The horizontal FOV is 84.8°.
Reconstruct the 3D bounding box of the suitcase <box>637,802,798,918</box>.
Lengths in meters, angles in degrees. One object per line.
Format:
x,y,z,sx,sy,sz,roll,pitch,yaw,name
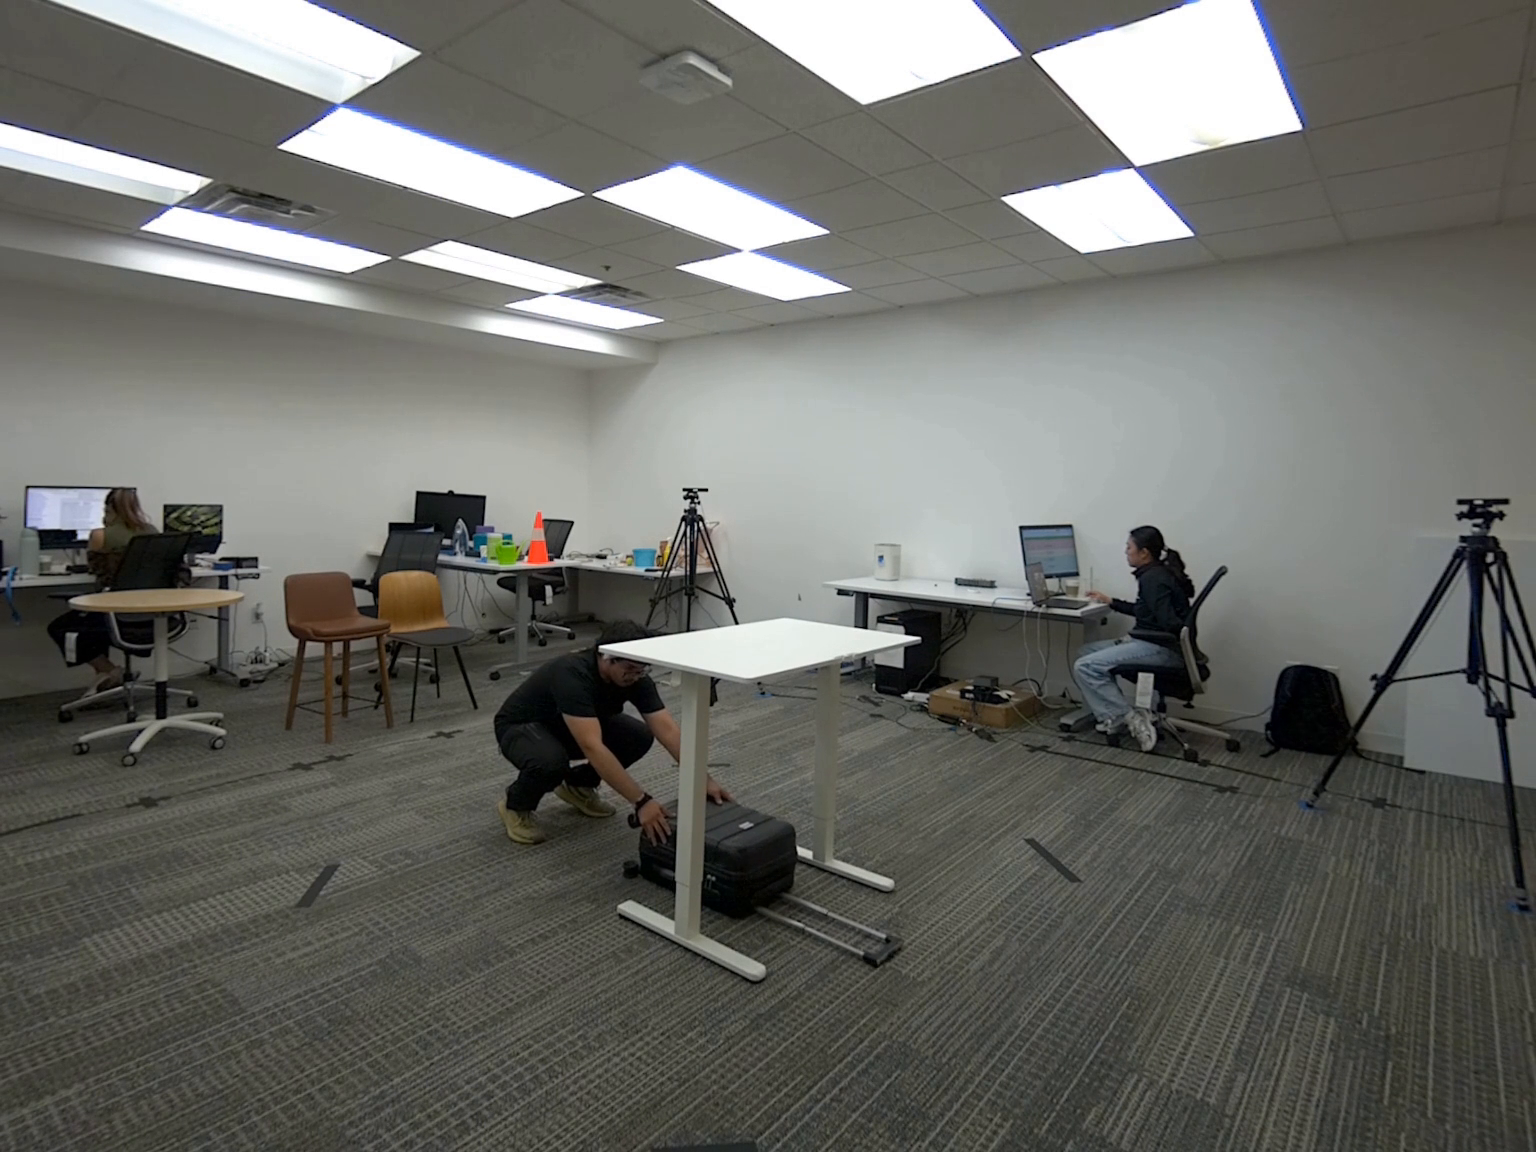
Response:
-0.033,0.975,2.860,1.011,0.256,0.372,4,4,39,suitcase
